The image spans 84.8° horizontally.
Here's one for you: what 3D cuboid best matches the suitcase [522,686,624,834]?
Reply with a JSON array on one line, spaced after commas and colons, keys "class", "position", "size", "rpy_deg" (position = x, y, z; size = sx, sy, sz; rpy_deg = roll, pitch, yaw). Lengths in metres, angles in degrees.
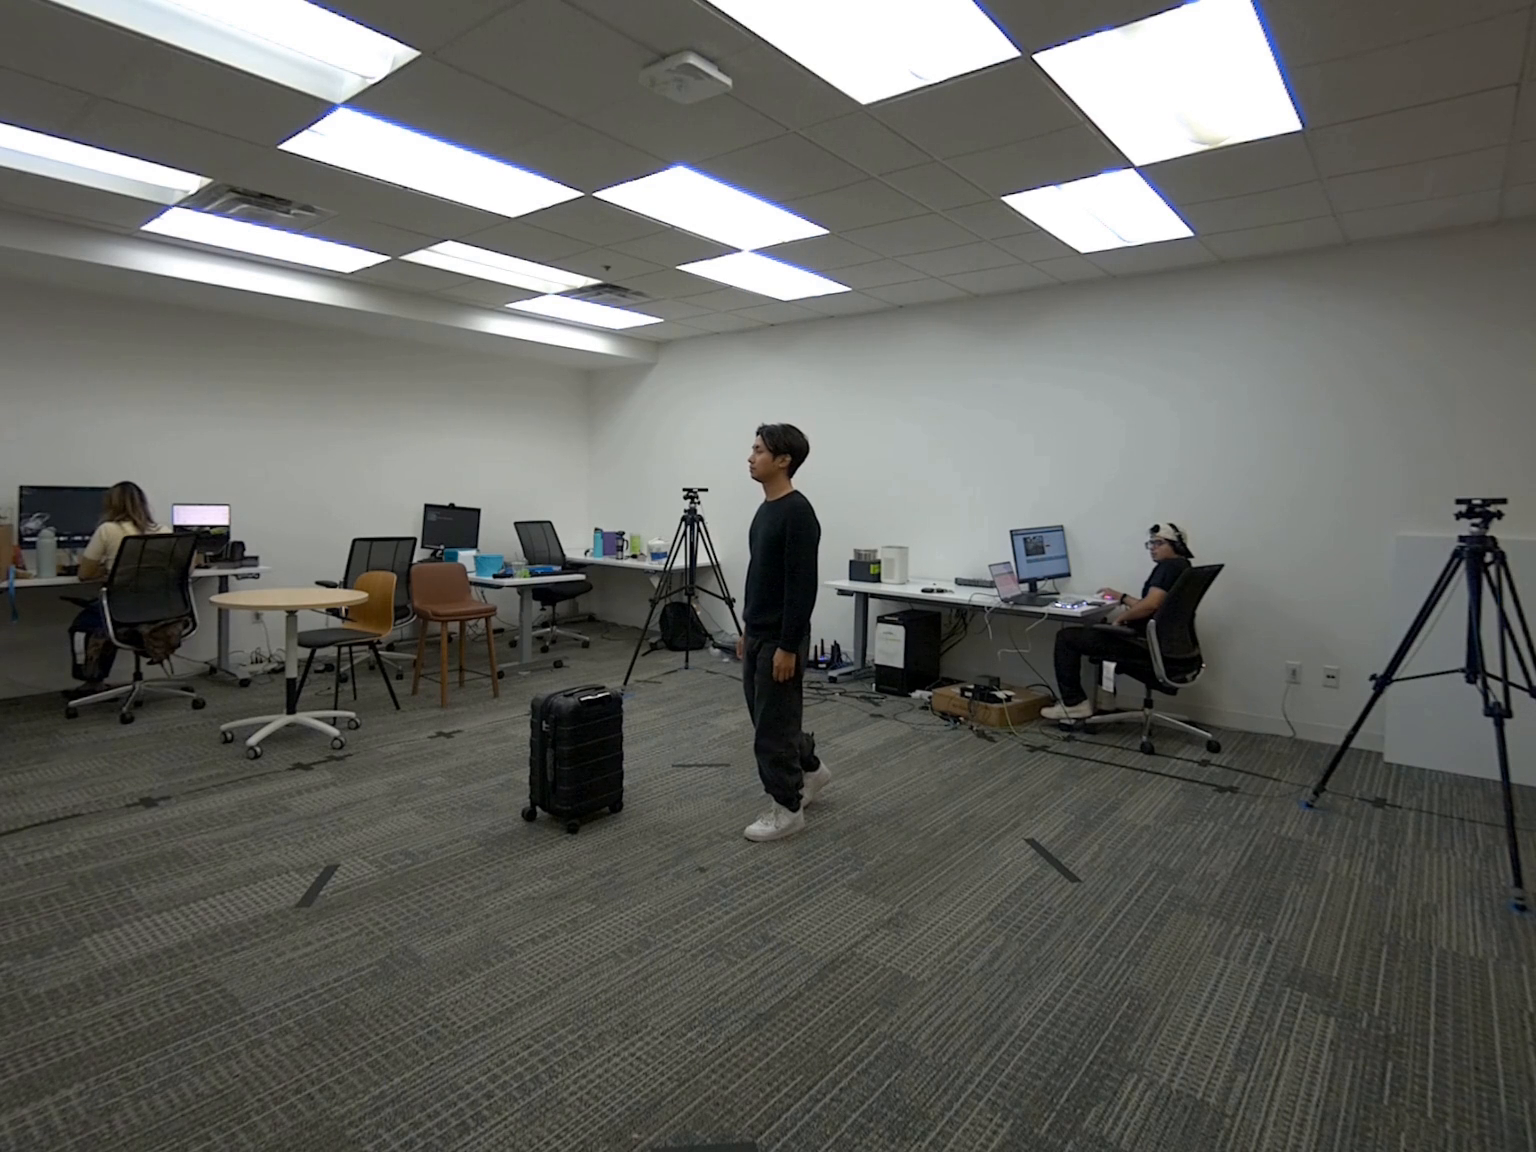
[{"class": "suitcase", "position": [-0.822, 0.740, 3.596], "size": [0.256, 0.548, 0.364], "rpy_deg": [3, 3, 38]}]
